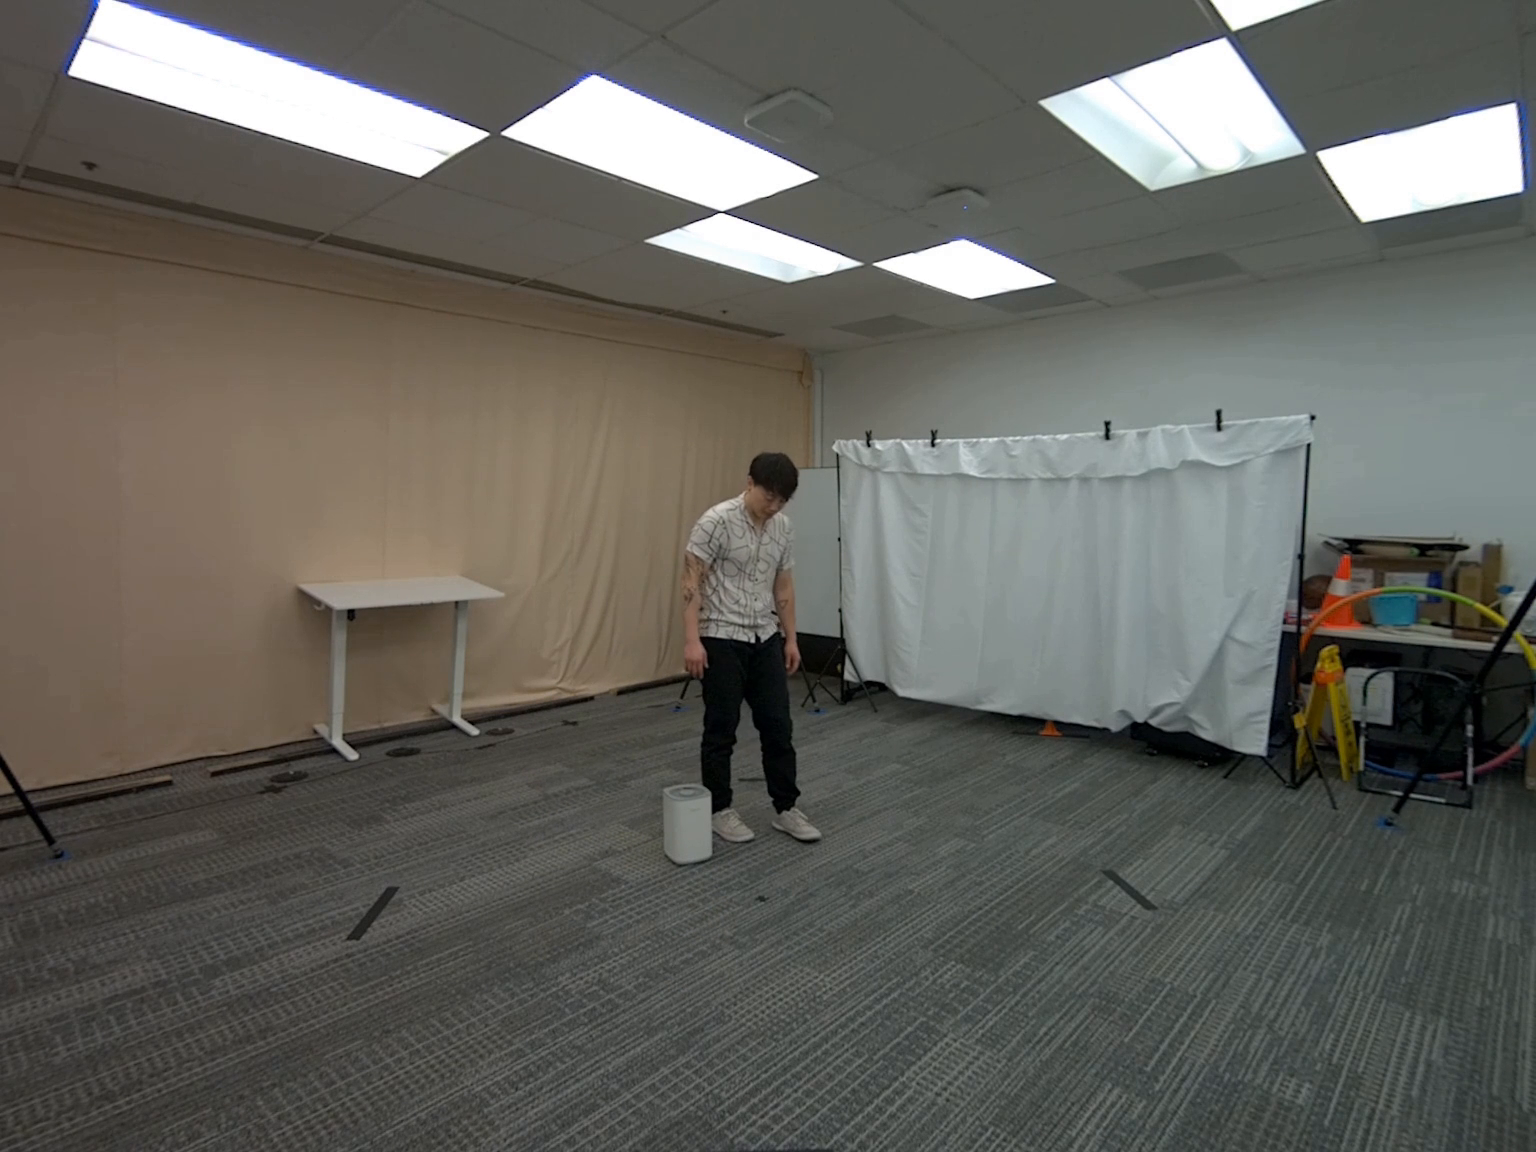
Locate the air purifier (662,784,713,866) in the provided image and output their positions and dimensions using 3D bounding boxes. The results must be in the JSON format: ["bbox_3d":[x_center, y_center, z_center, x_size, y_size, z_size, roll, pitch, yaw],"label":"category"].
[{"bbox_3d":[-0.323,0.984,3.338,0.167,0.265,0.176,-4,4,-29],"label":"air purifier"}]
